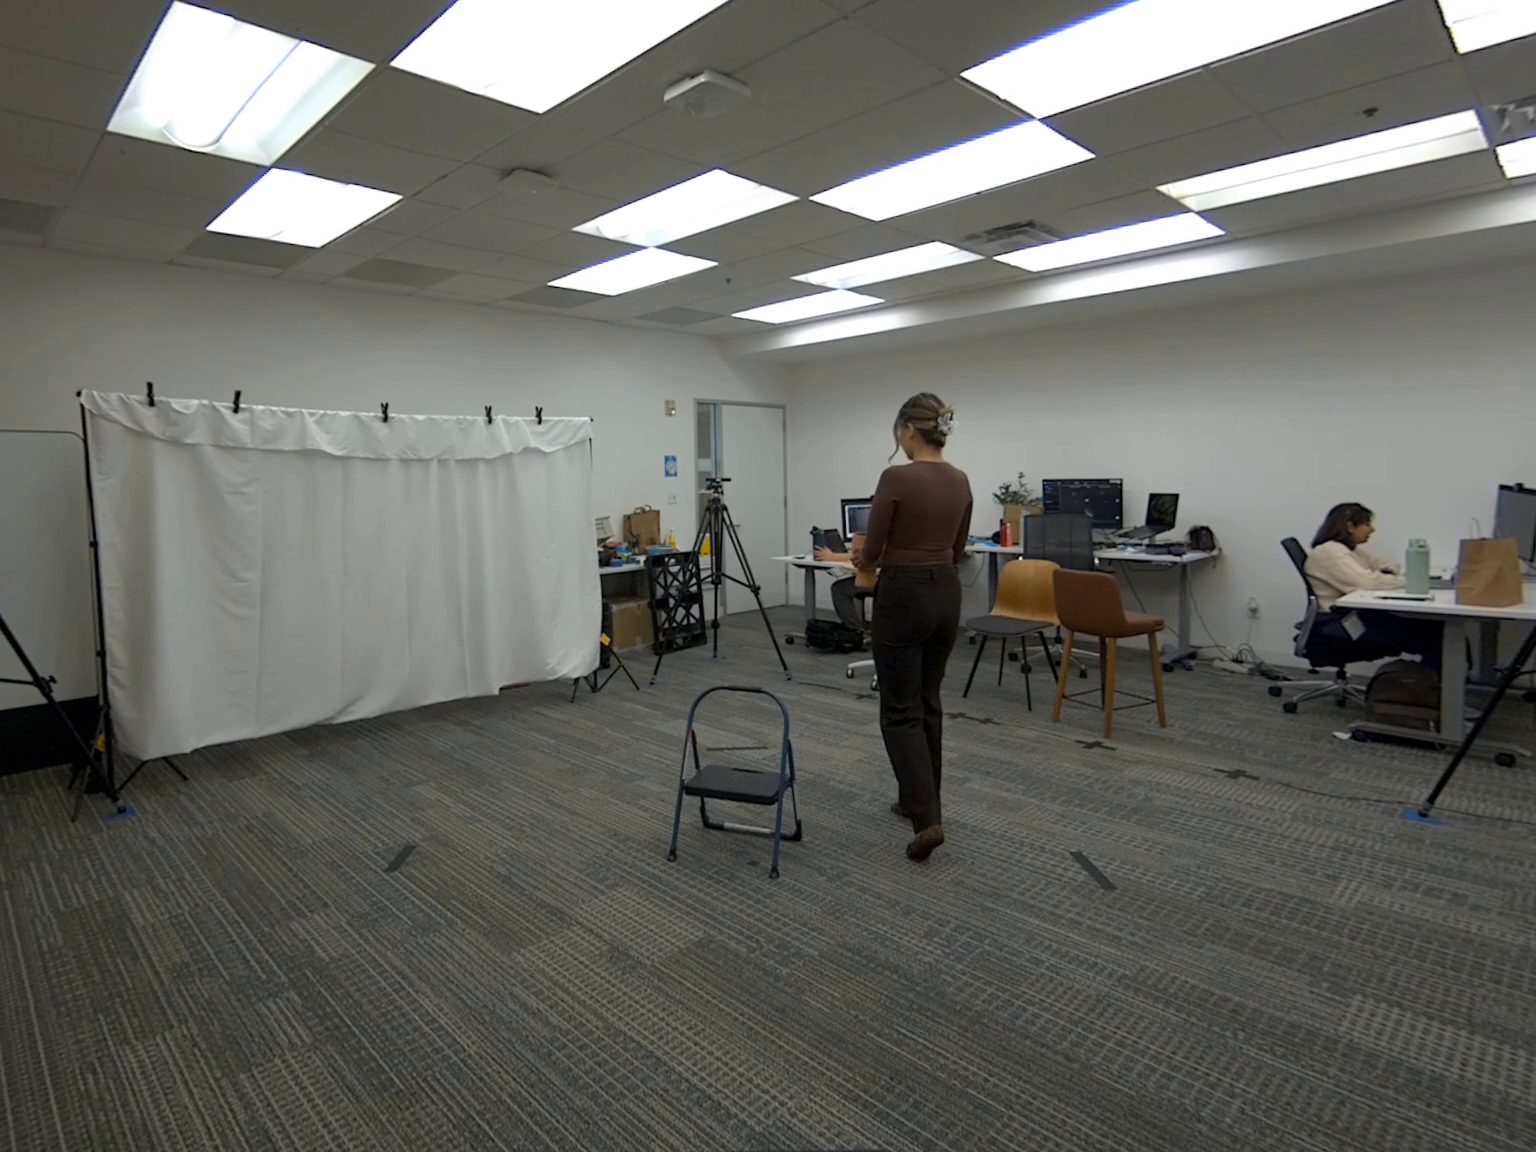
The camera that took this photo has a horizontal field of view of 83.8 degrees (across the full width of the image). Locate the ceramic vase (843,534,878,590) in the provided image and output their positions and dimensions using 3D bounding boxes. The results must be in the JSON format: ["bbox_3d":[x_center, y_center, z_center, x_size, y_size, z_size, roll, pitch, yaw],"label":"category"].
[{"bbox_3d":[0.428,-0.066,3.623,0.135,0.218,0.159,3,7,4],"label":"ceramic vase"}]
